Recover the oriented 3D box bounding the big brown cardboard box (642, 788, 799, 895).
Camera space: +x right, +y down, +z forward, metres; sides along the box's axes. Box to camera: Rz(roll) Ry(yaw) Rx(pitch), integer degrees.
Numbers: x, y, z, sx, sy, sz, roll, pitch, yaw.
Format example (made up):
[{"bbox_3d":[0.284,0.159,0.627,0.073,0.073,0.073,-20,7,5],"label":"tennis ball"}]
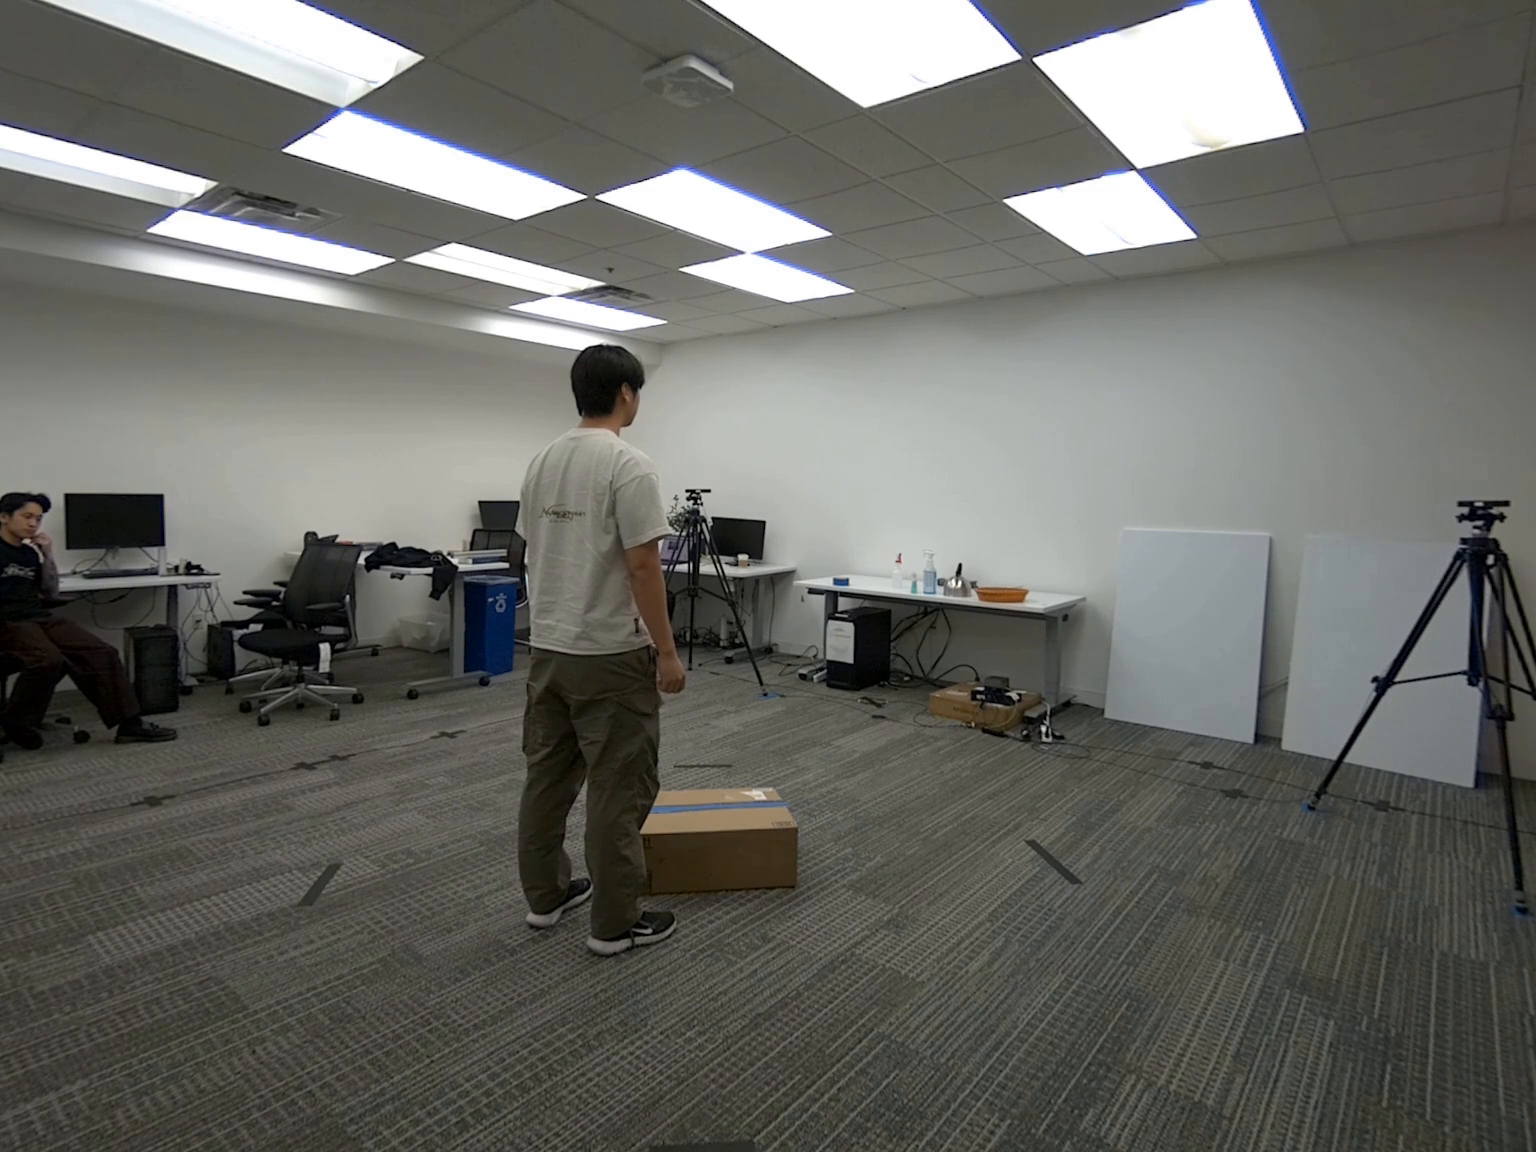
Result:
[{"bbox_3d":[-0.214,0.957,3.141,0.583,0.232,0.423,-1,5,-10],"label":"big brown cardboard box"}]
